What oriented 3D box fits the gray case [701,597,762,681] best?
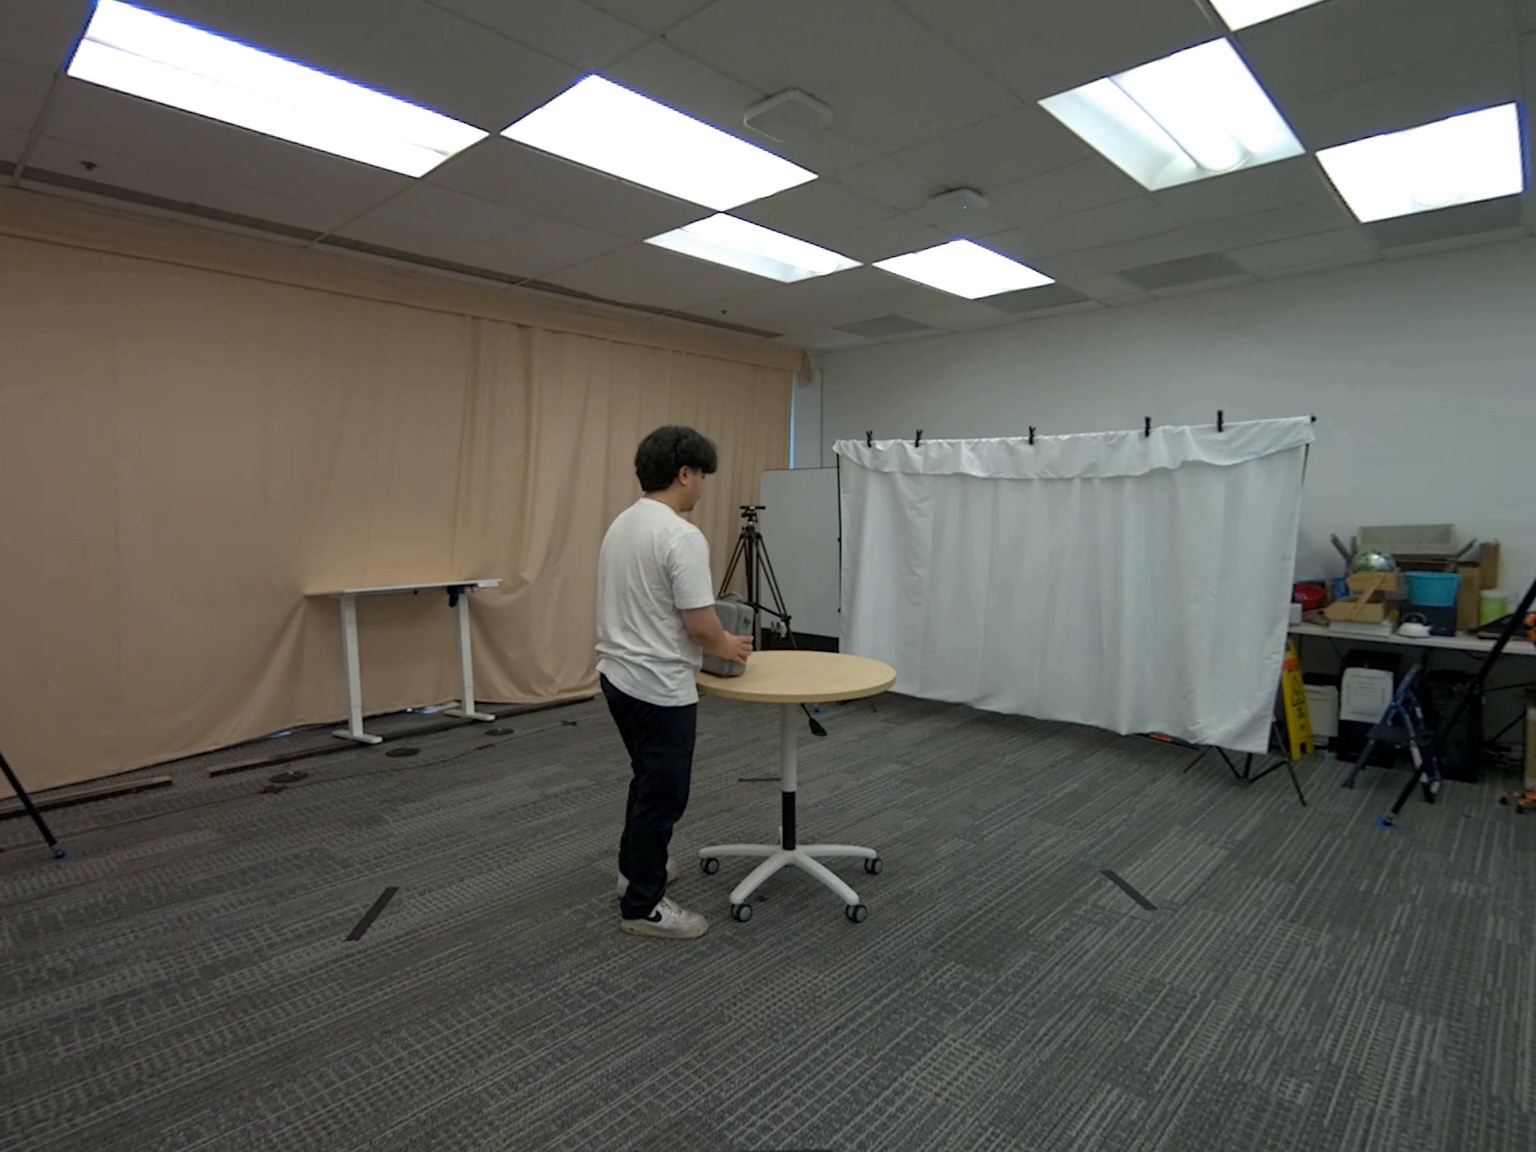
[{"bbox_3d":[-0.161,0.212,3.021,0.101,0.261,0.264,12,-3,-31],"label":"gray case"}]
